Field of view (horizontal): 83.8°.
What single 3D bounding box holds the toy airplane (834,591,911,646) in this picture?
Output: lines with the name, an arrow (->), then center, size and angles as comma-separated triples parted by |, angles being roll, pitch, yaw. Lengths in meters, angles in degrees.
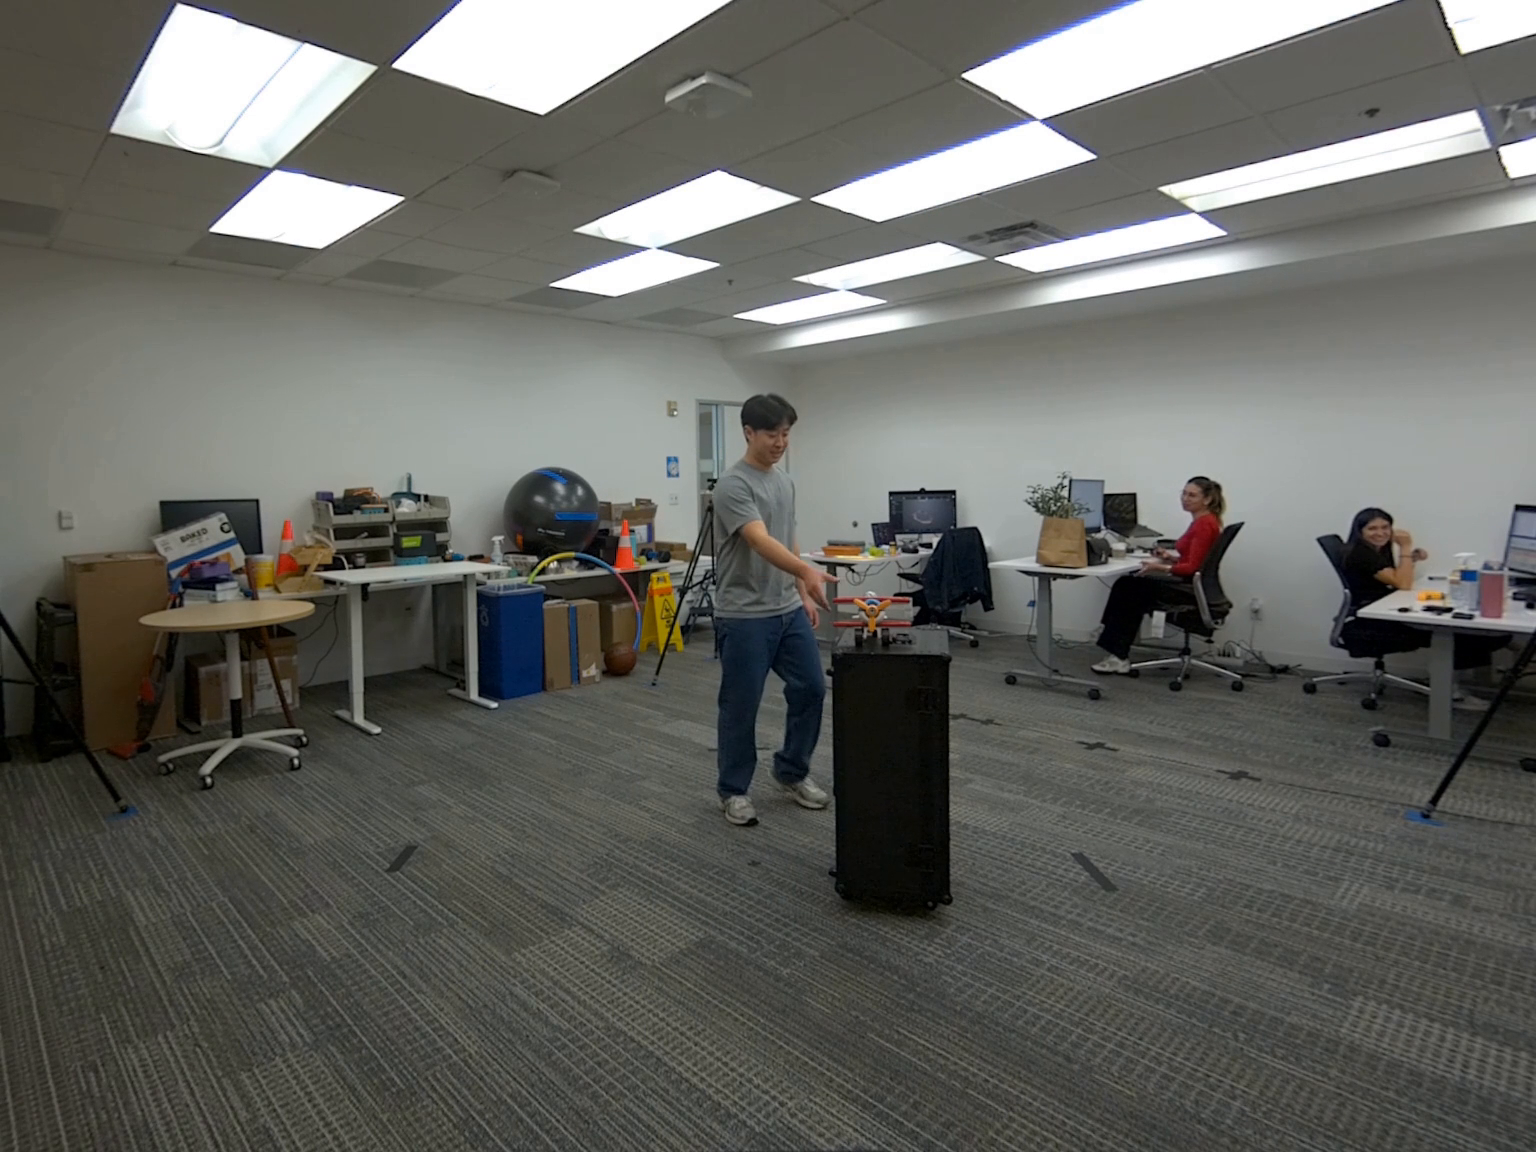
toy airplane -> 0.331, 0.136, 2.870 | 0.246, 0.155, 0.266 | -3, 8, -22
